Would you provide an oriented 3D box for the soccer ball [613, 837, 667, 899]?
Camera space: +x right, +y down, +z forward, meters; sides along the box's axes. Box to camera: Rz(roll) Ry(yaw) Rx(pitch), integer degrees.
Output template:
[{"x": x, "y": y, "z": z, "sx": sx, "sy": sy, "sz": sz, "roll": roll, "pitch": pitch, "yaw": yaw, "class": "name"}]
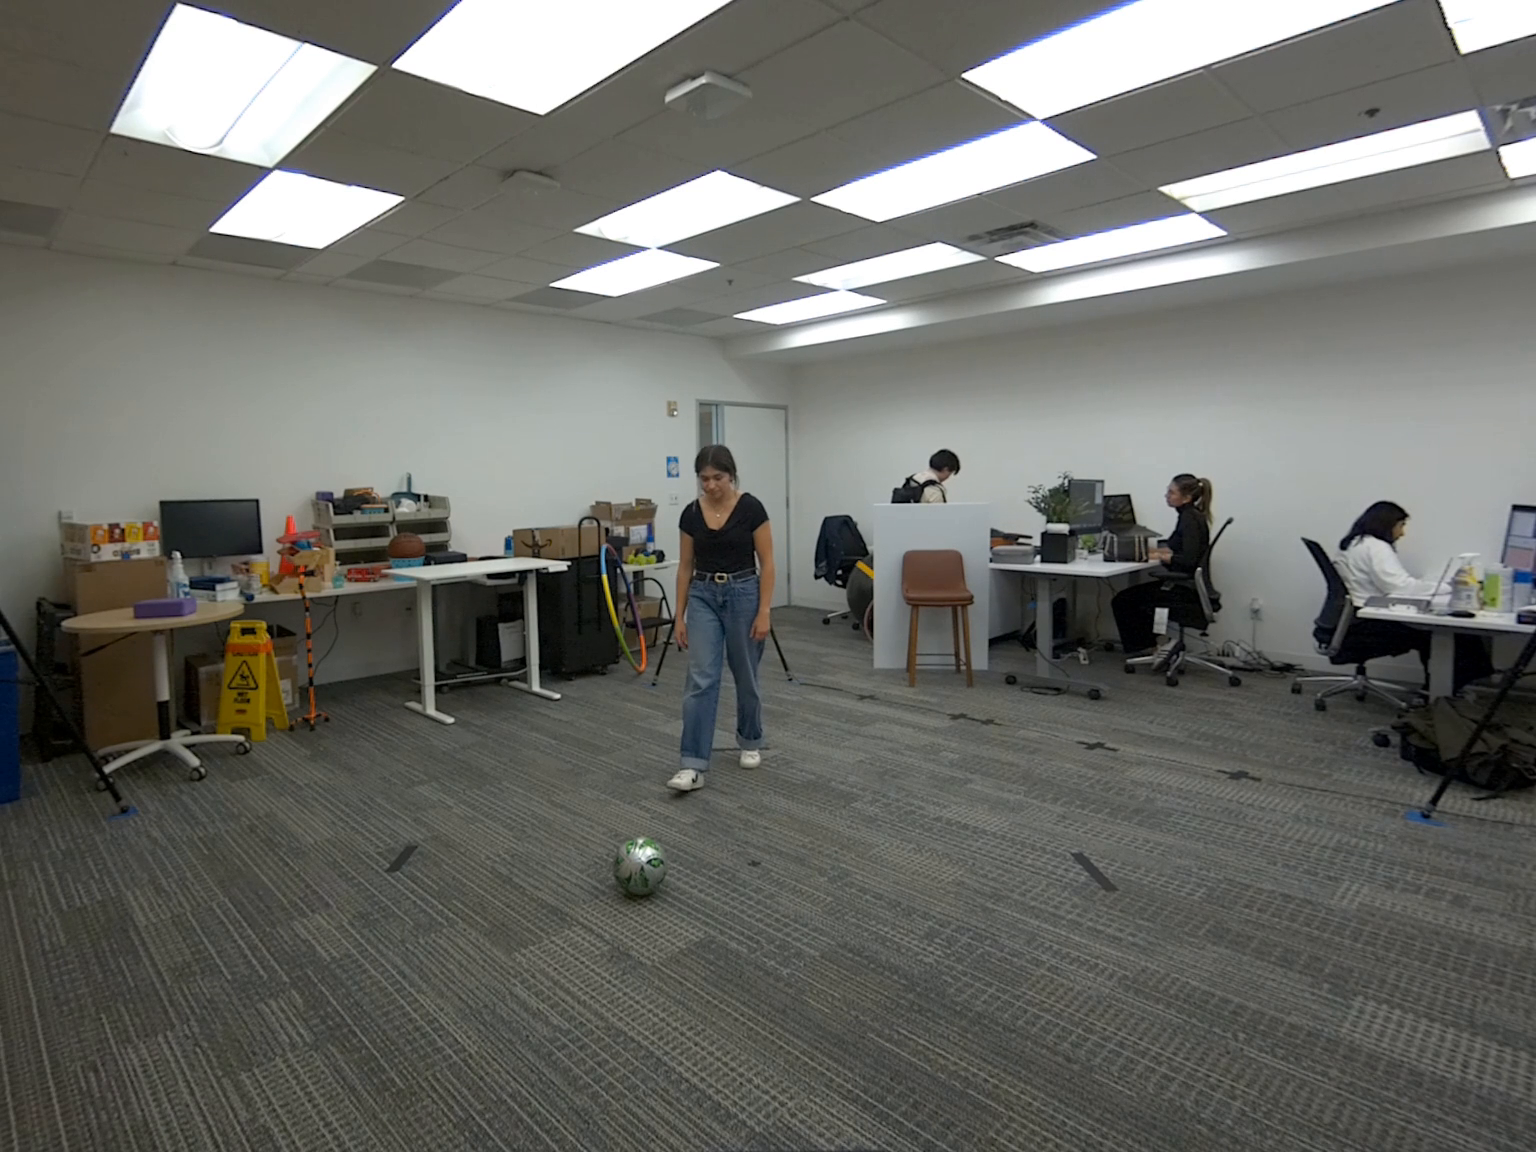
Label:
[{"x": -0.427, "y": 0.986, "z": 2.900, "sx": 0.187, "sy": 0.187, "sz": 0.188, "roll": -1, "pitch": 5, "yaw": -2, "class": "soccer ball"}]
